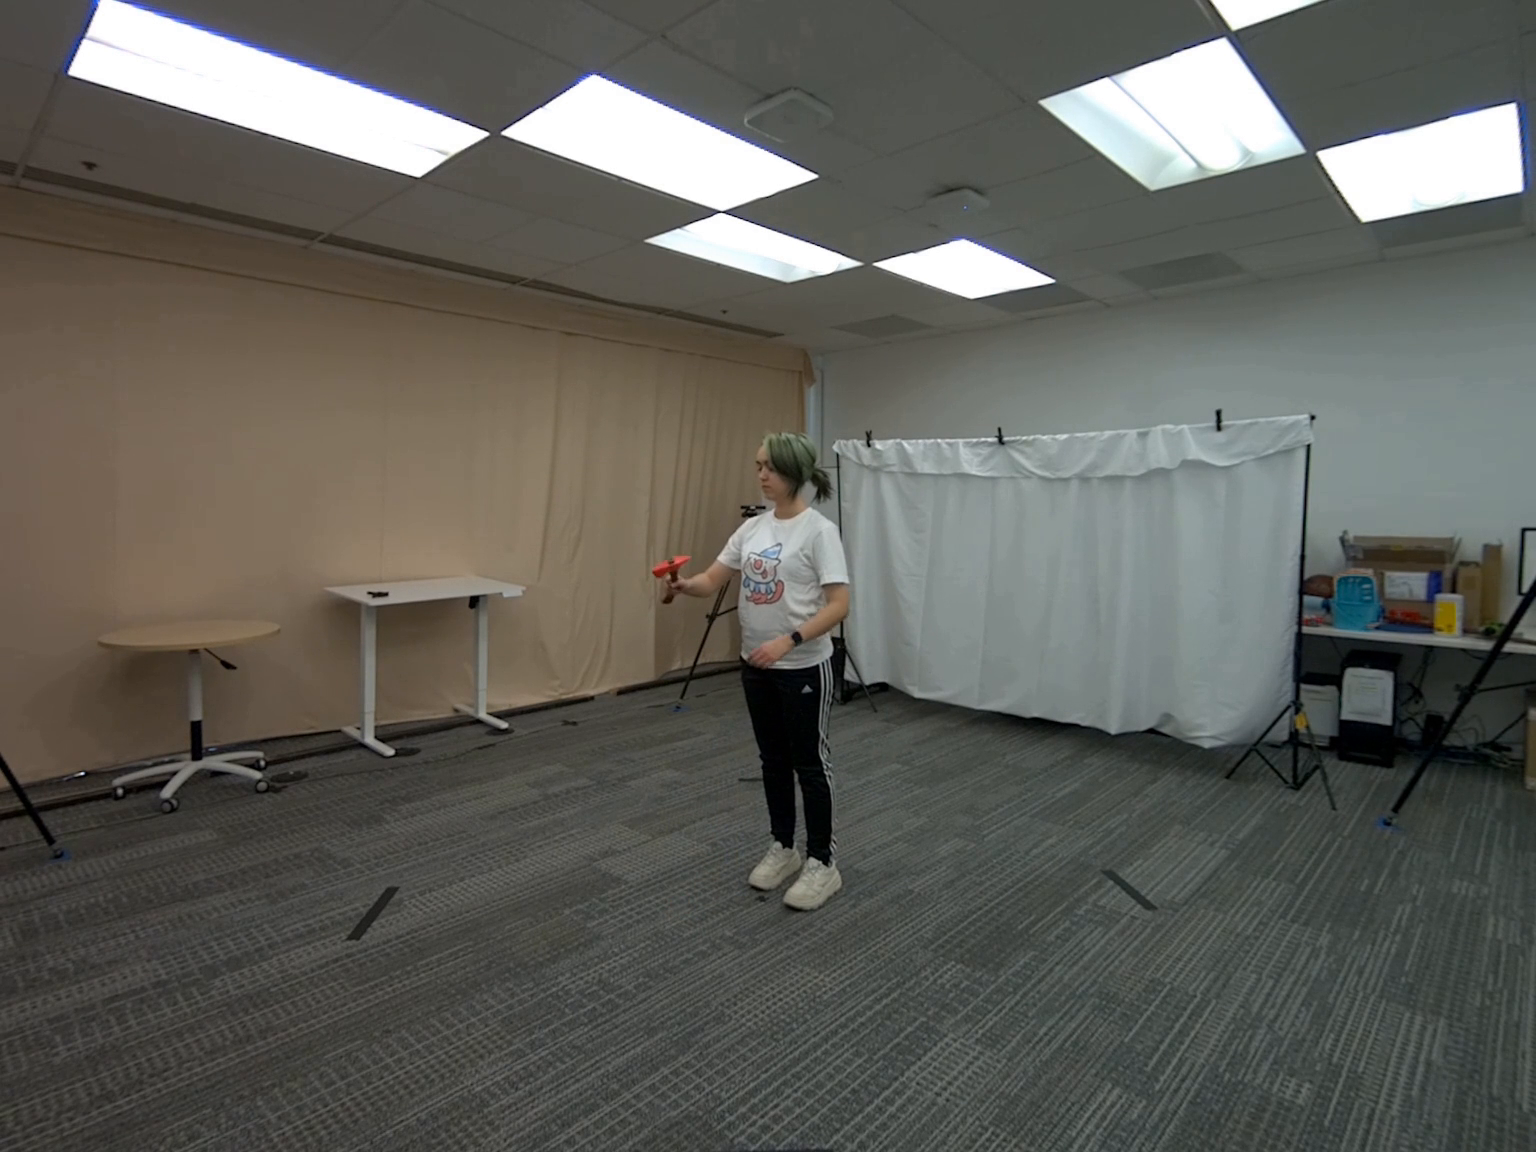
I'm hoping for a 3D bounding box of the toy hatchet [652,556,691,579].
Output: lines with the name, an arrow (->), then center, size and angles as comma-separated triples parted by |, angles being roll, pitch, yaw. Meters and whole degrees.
toy hatchet -> -0.349, 0.027, 2.822 | 0.128, 0.030, 0.269 | -10, -31, -30
